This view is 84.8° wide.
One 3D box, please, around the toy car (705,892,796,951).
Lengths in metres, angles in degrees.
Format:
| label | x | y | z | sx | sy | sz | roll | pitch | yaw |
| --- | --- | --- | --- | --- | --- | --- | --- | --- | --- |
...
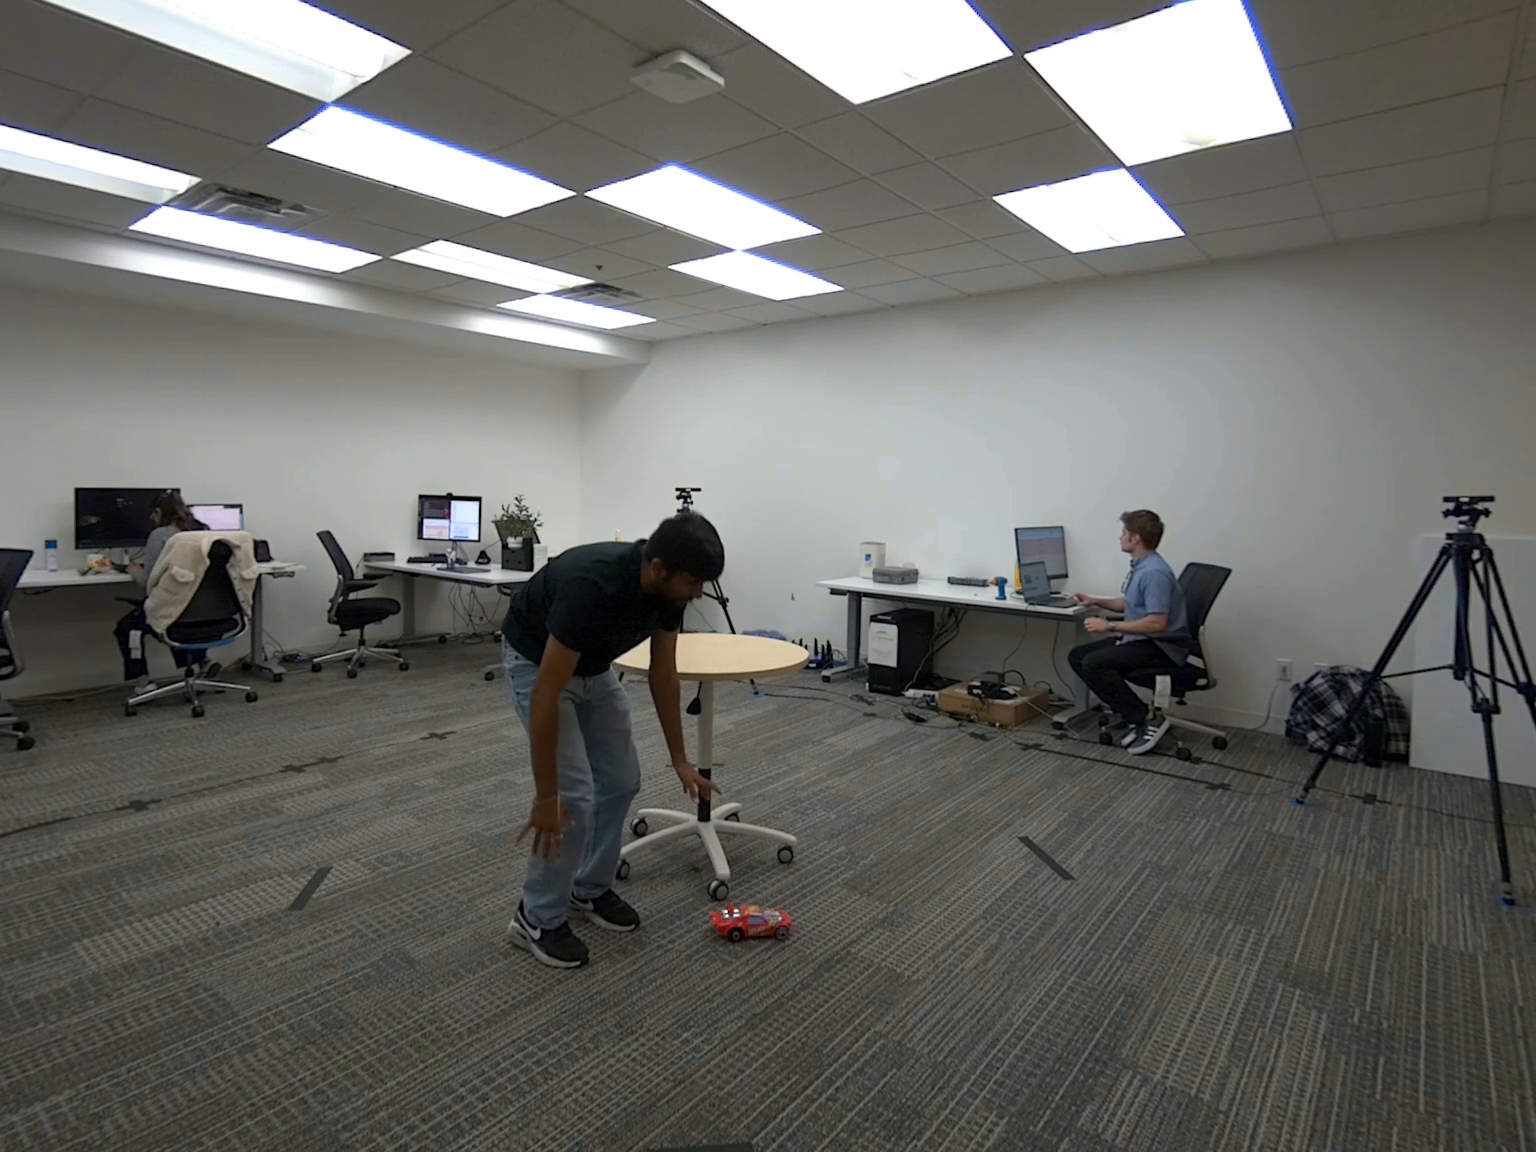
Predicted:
| label | x | y | z | sx | sy | sz | roll | pitch | yaw |
| --- | --- | --- | --- | --- | --- | --- | --- | --- | --- |
| toy car | -0.060 | 1.085 | 2.648 | 0.252 | 0.083 | 0.132 | 11 | 1 | -8 |
